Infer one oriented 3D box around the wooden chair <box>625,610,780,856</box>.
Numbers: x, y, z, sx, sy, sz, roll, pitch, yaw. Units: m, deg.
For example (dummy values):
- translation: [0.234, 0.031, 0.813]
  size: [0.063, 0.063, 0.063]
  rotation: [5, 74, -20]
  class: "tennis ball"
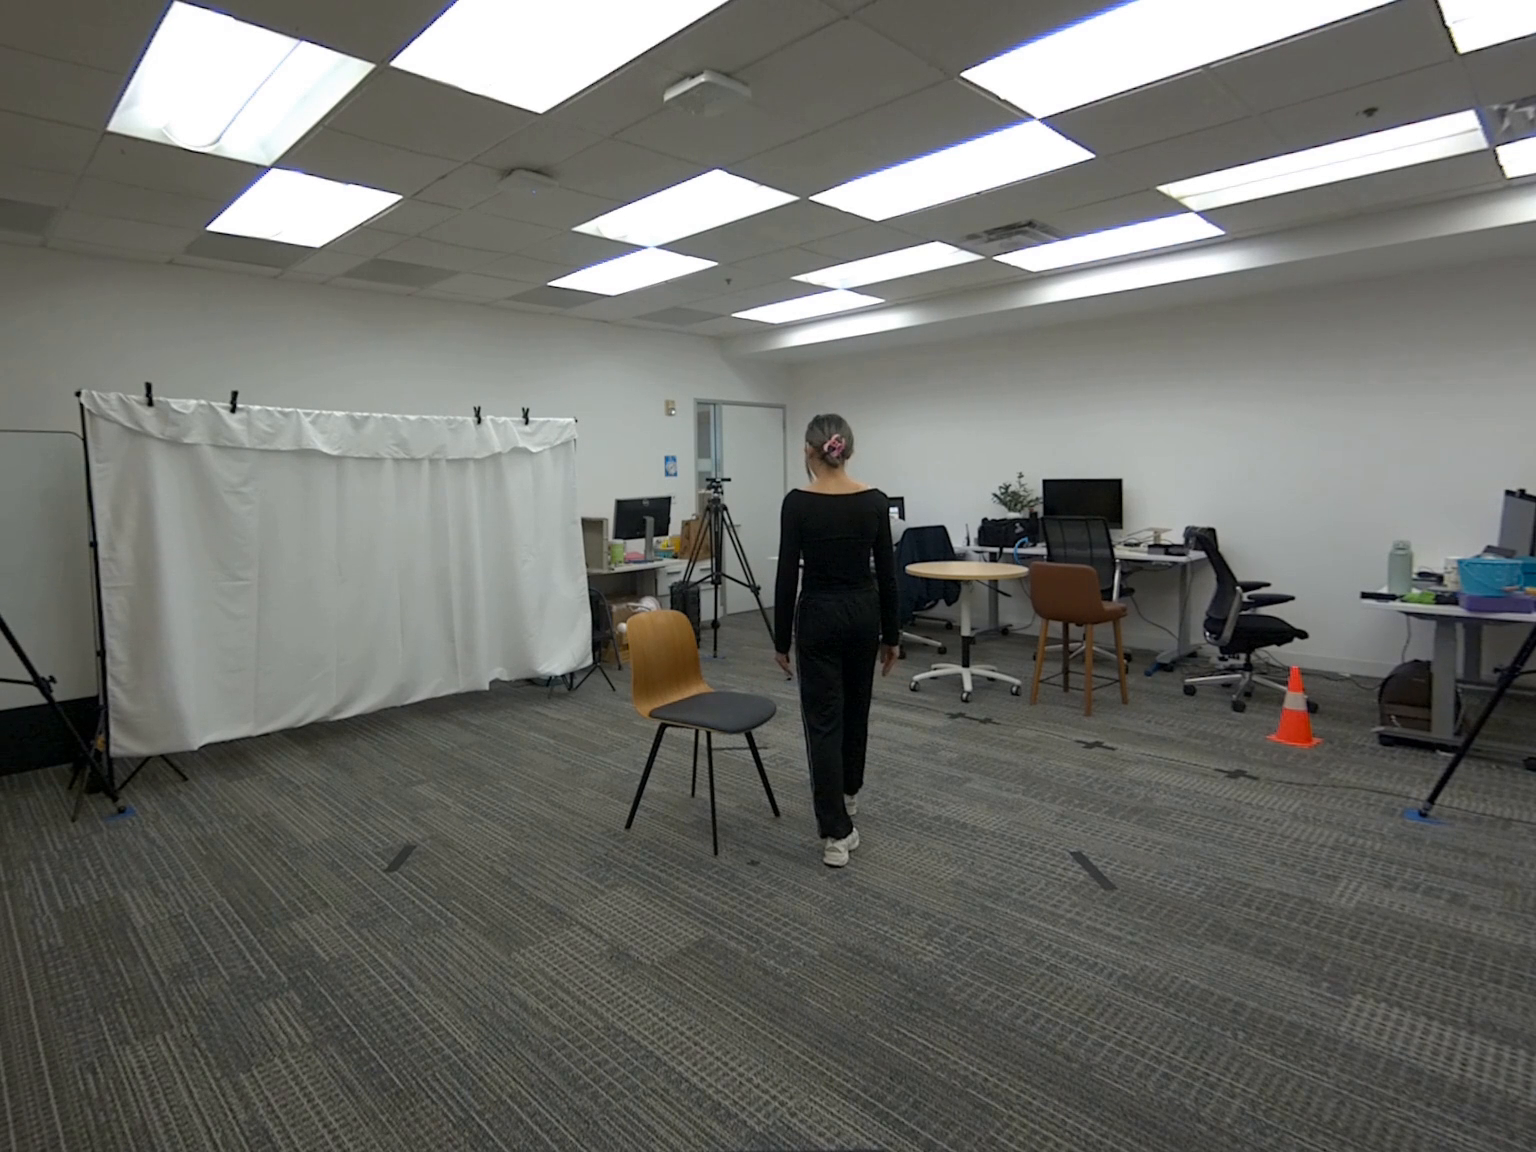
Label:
- translation: [-0.259, 0.579, 3.441]
  size: [0.537, 0.877, 0.466]
  rotation: [-4, 2, 35]
  class: "wooden chair"
